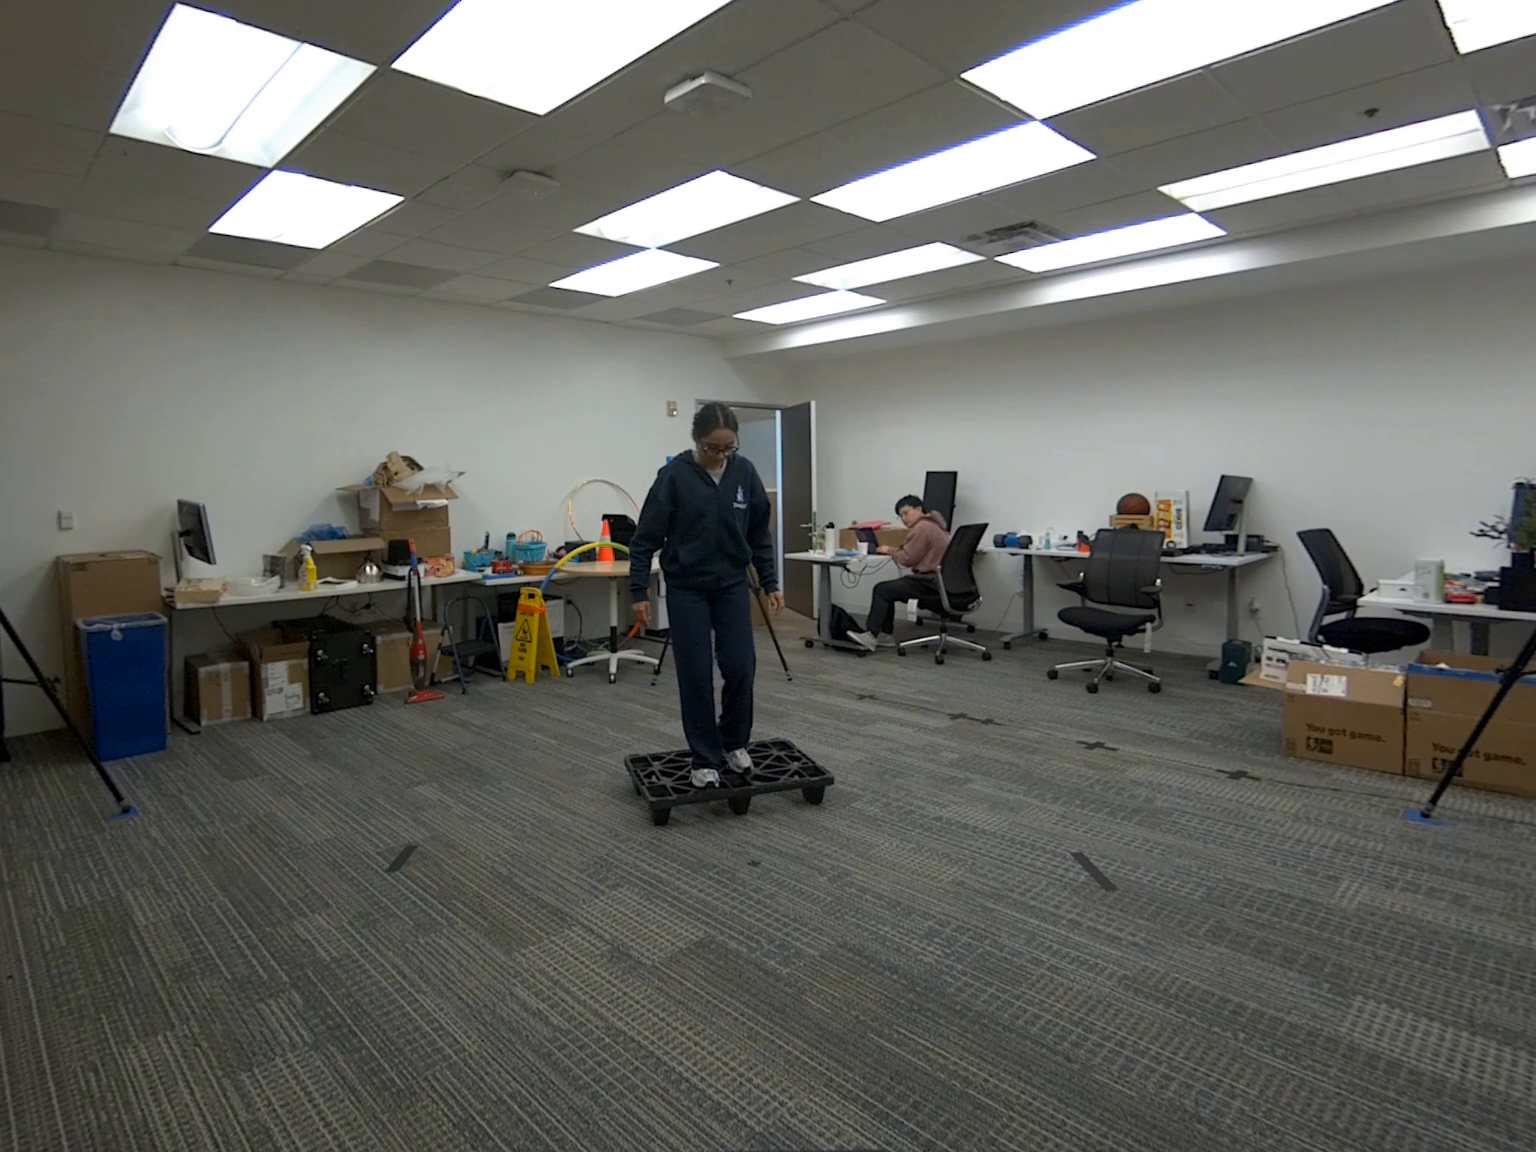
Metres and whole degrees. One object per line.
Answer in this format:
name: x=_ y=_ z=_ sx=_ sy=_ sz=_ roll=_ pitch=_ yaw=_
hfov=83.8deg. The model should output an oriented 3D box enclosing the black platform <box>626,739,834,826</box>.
black platform: x=-0.184 y=0.902 z=3.772 sx=0.794 sy=0.142 sz=0.617 roll=-4 pitch=7 yaw=-17
